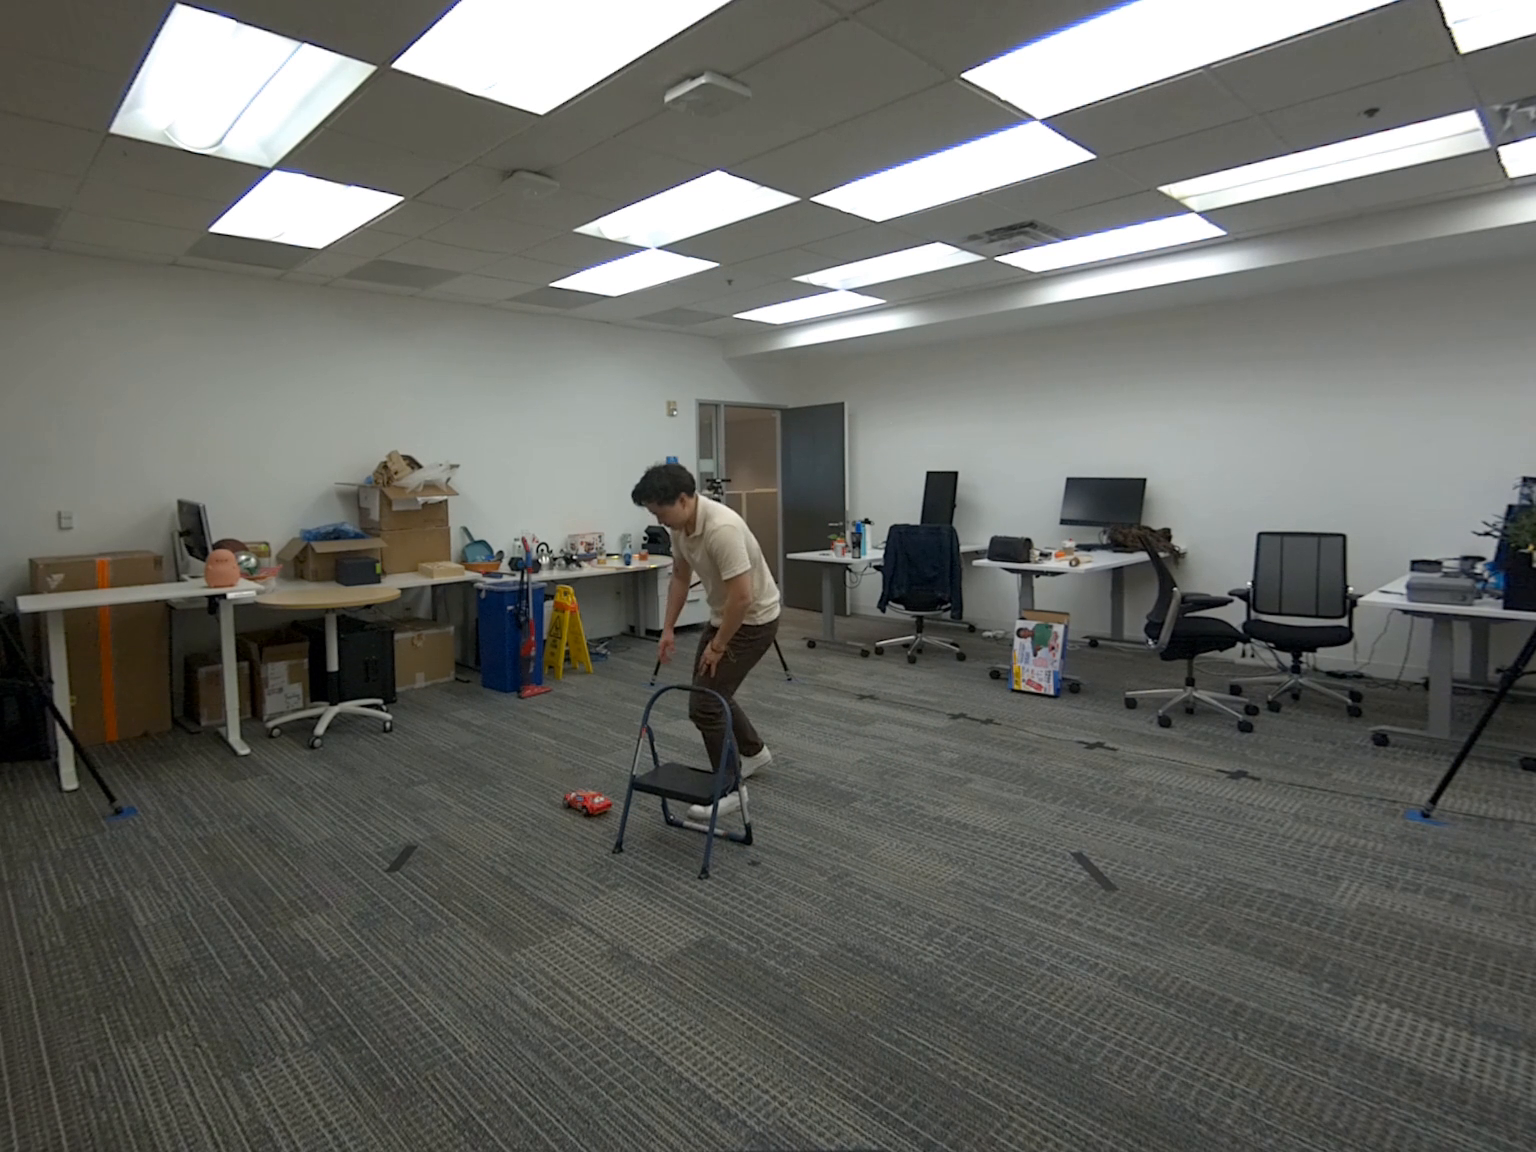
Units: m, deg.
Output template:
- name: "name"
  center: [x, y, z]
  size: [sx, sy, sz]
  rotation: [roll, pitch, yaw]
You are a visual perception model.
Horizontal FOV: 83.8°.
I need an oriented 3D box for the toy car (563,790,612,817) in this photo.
- name: "toy car"
  center: [-0.767, 0.968, 3.643]
  size: [0.127, 0.083, 0.260]
  rotation: [-7, -2, -44]
